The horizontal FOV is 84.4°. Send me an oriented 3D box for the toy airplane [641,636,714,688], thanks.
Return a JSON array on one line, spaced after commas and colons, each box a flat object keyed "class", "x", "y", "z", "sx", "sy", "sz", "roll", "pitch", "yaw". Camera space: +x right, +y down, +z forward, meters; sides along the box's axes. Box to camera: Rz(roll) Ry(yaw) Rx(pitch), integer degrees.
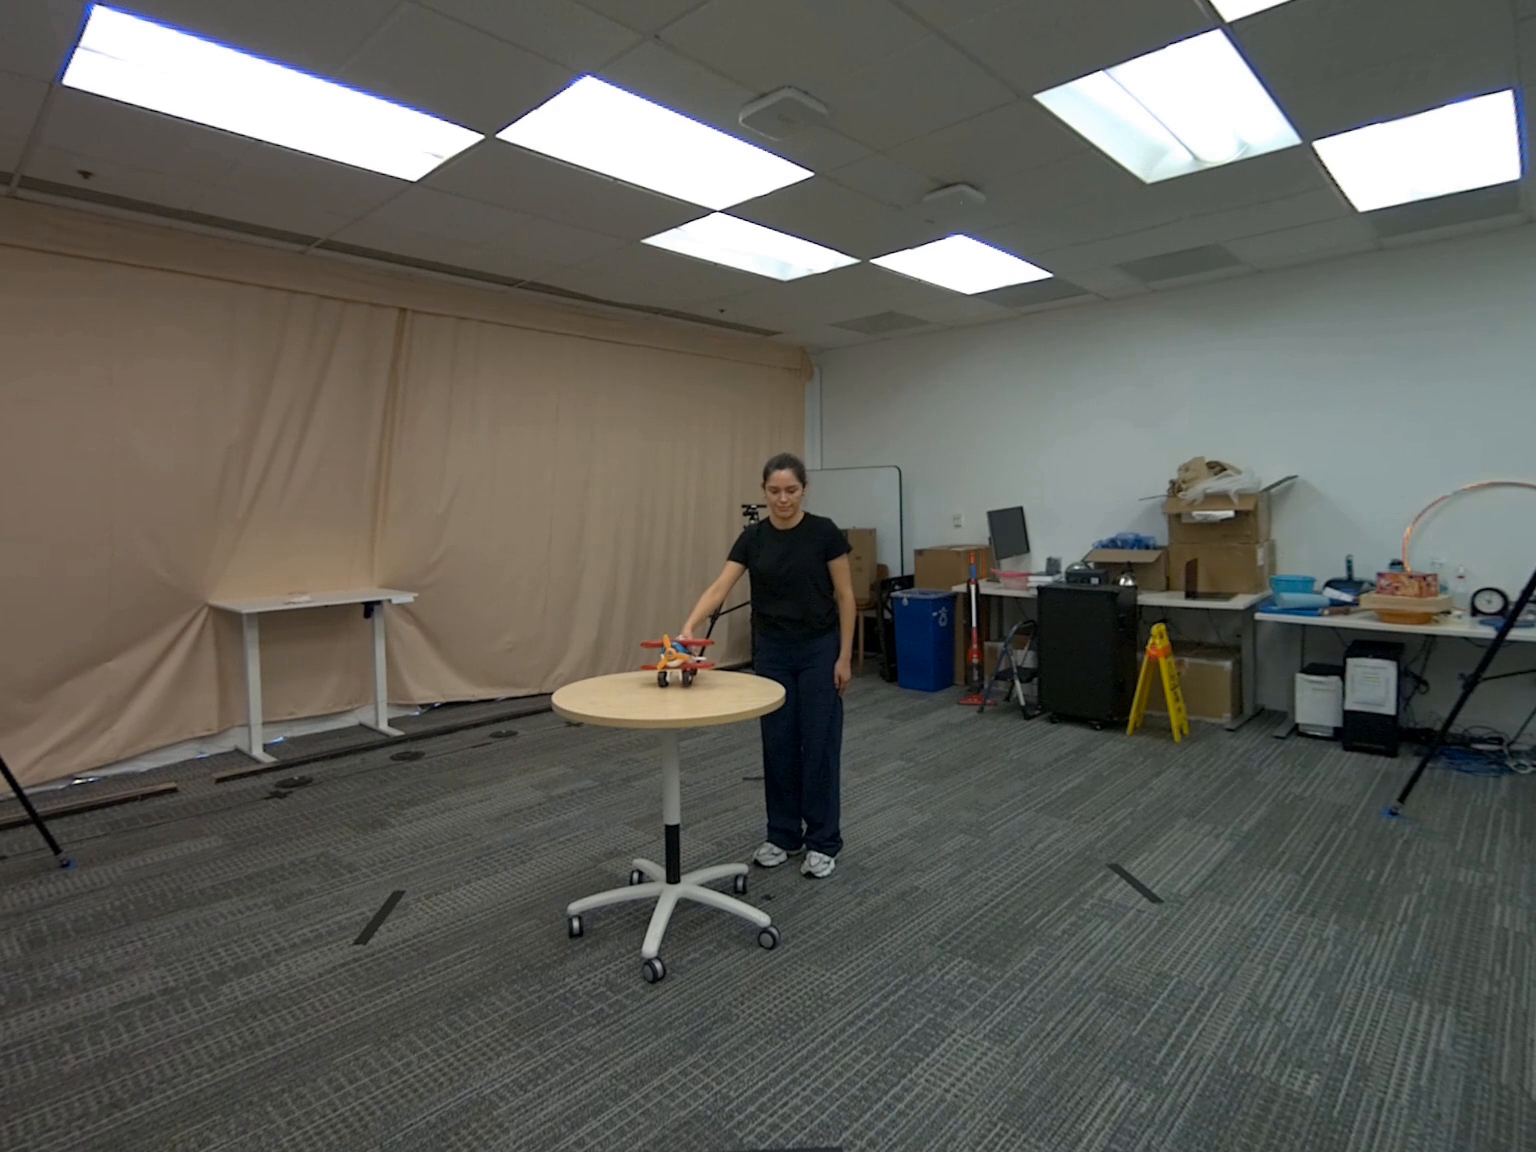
[{"class": "toy airplane", "x": -0.314, "y": 0.285, "z": 2.918, "sx": 0.246, "sy": 0.156, "sz": 0.265, "roll": -4, "pitch": 4, "yaw": -20}]
